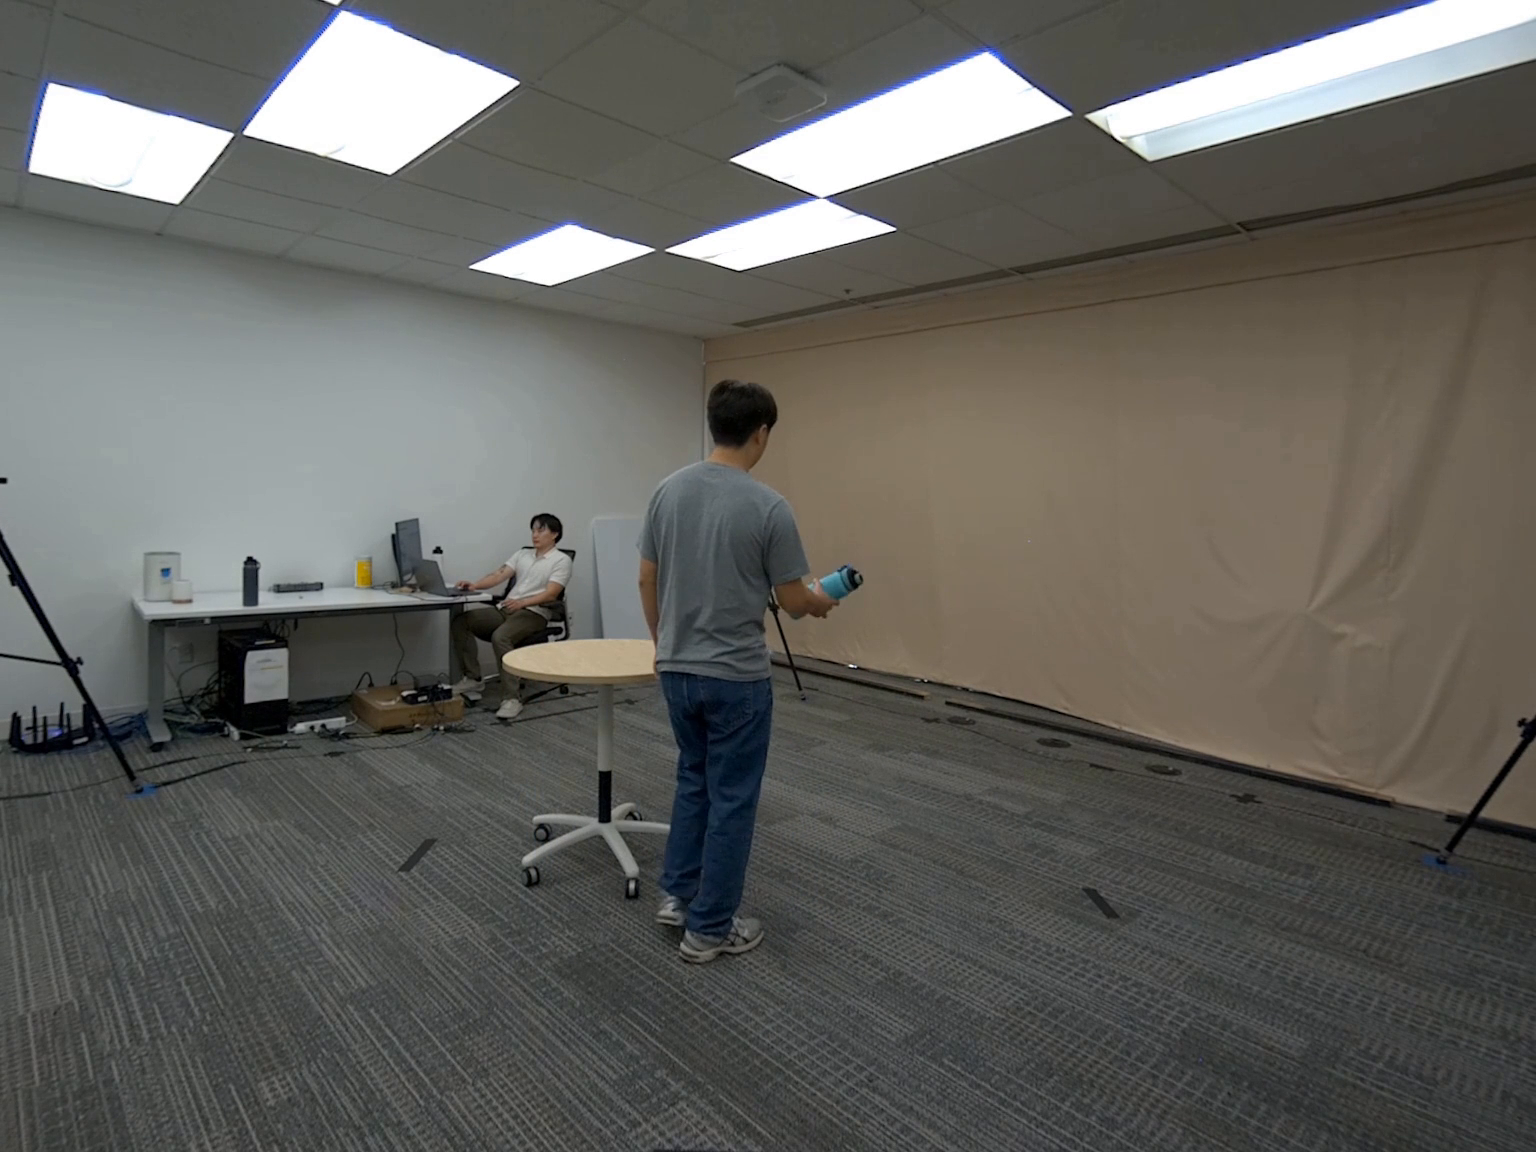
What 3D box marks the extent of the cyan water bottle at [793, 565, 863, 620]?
[{"bbox_3d":[0.187,0.056,2.871,0.285,0.093,0.091,-28,-8,22],"label":"cyan water bottle"}]
